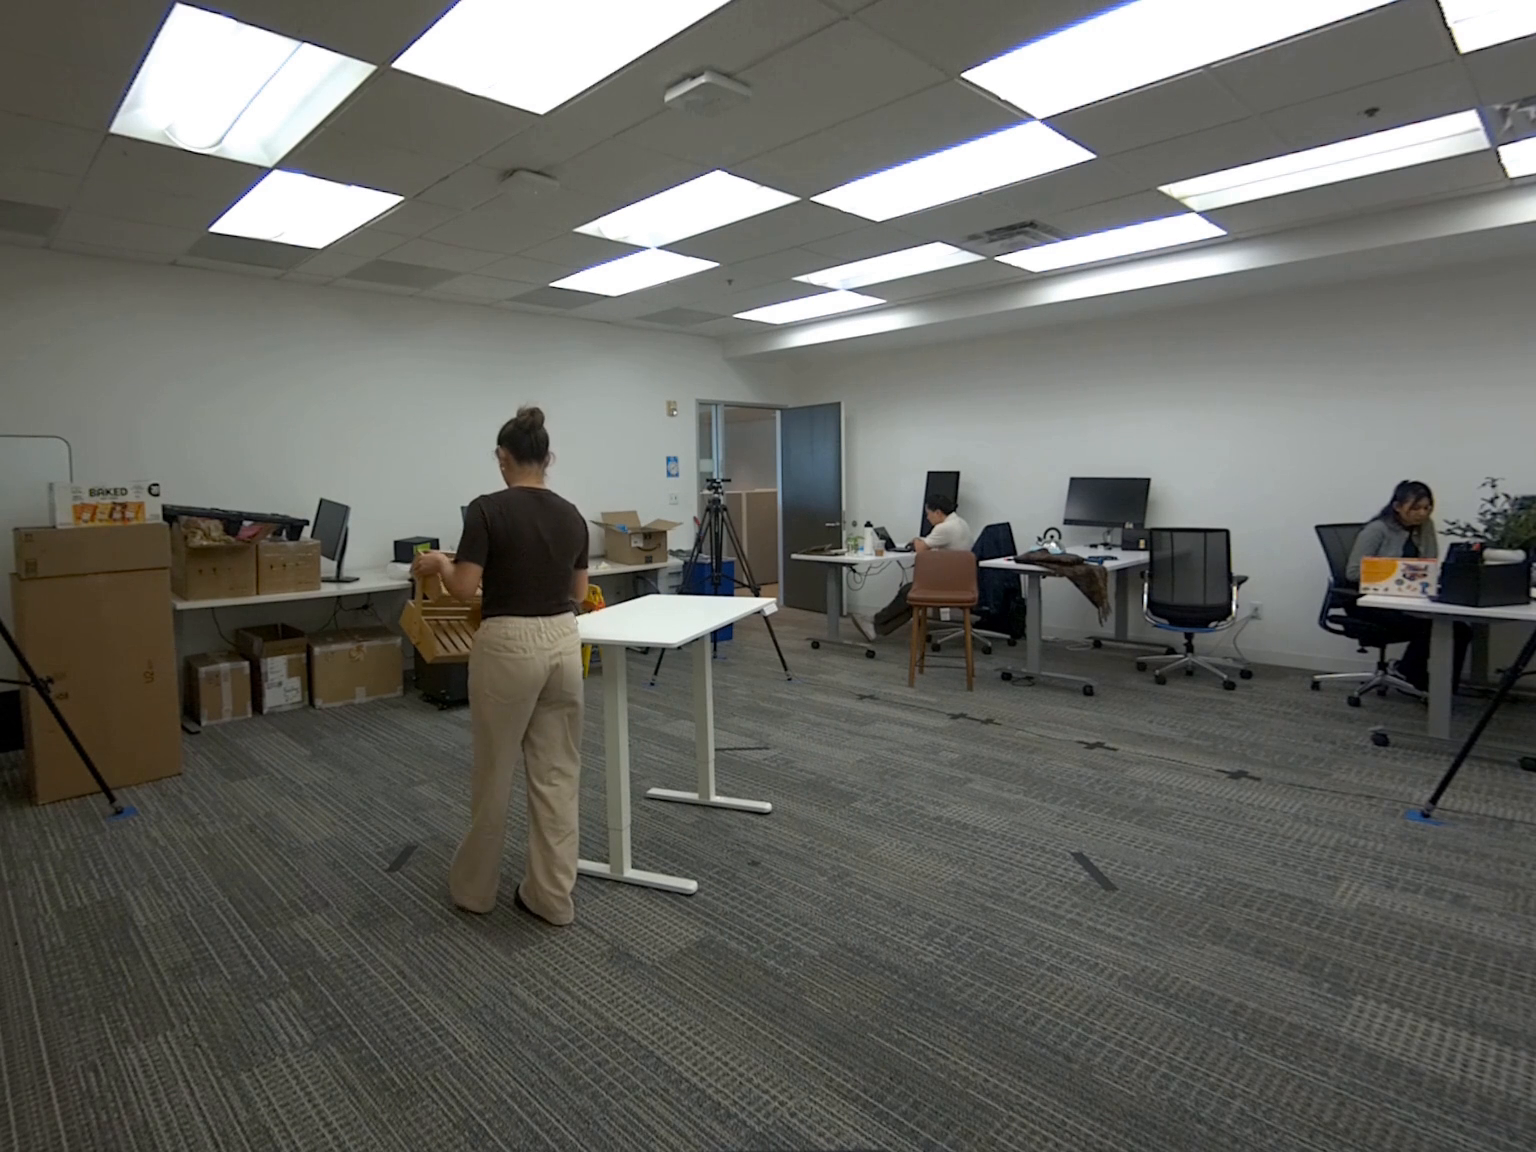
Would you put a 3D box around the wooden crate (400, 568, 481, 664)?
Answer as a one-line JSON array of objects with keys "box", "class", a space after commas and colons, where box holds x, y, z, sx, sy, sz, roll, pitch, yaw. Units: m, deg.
[{"box": [-1.013, 0.103, 2.882, 0.313, 0.271, 0.314, 39, 21, 34], "class": "wooden crate"}]
